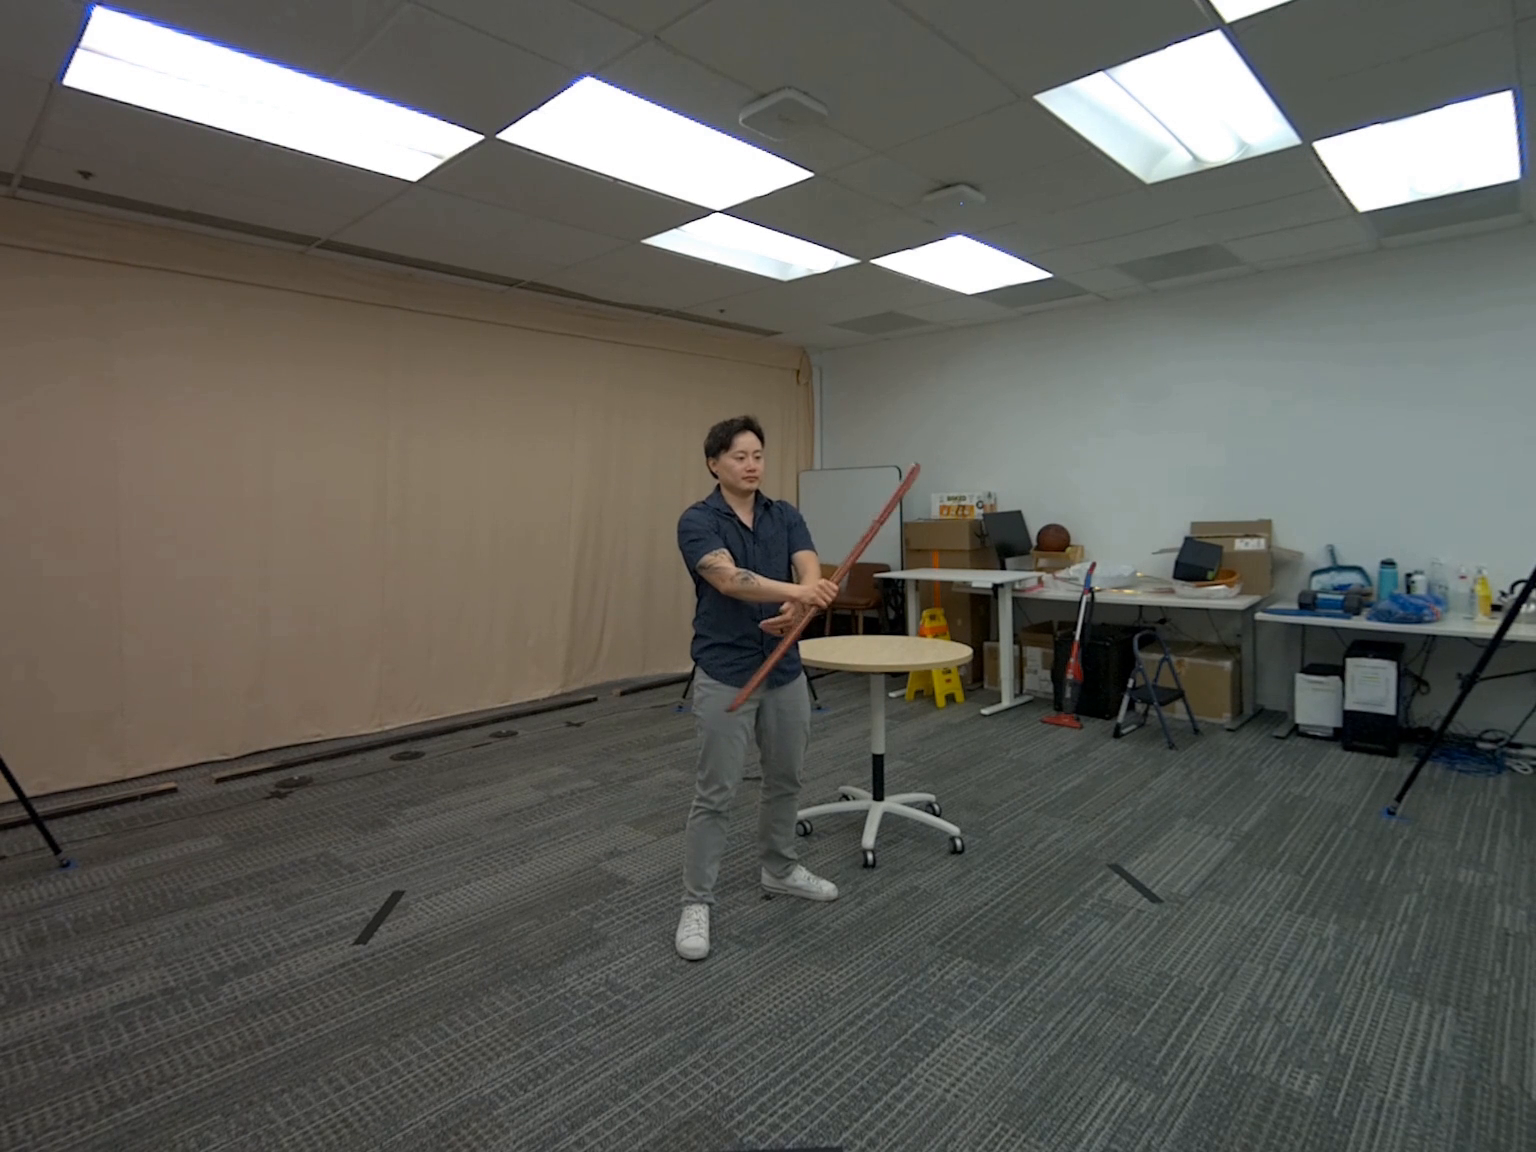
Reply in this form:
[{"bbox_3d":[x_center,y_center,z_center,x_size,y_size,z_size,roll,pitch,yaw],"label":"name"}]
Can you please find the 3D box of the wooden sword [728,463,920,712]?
[{"bbox_3d":[0.206,0.012,2.505,0.053,1.021,0.023,19,-29,36],"label":"wooden sword"}]
